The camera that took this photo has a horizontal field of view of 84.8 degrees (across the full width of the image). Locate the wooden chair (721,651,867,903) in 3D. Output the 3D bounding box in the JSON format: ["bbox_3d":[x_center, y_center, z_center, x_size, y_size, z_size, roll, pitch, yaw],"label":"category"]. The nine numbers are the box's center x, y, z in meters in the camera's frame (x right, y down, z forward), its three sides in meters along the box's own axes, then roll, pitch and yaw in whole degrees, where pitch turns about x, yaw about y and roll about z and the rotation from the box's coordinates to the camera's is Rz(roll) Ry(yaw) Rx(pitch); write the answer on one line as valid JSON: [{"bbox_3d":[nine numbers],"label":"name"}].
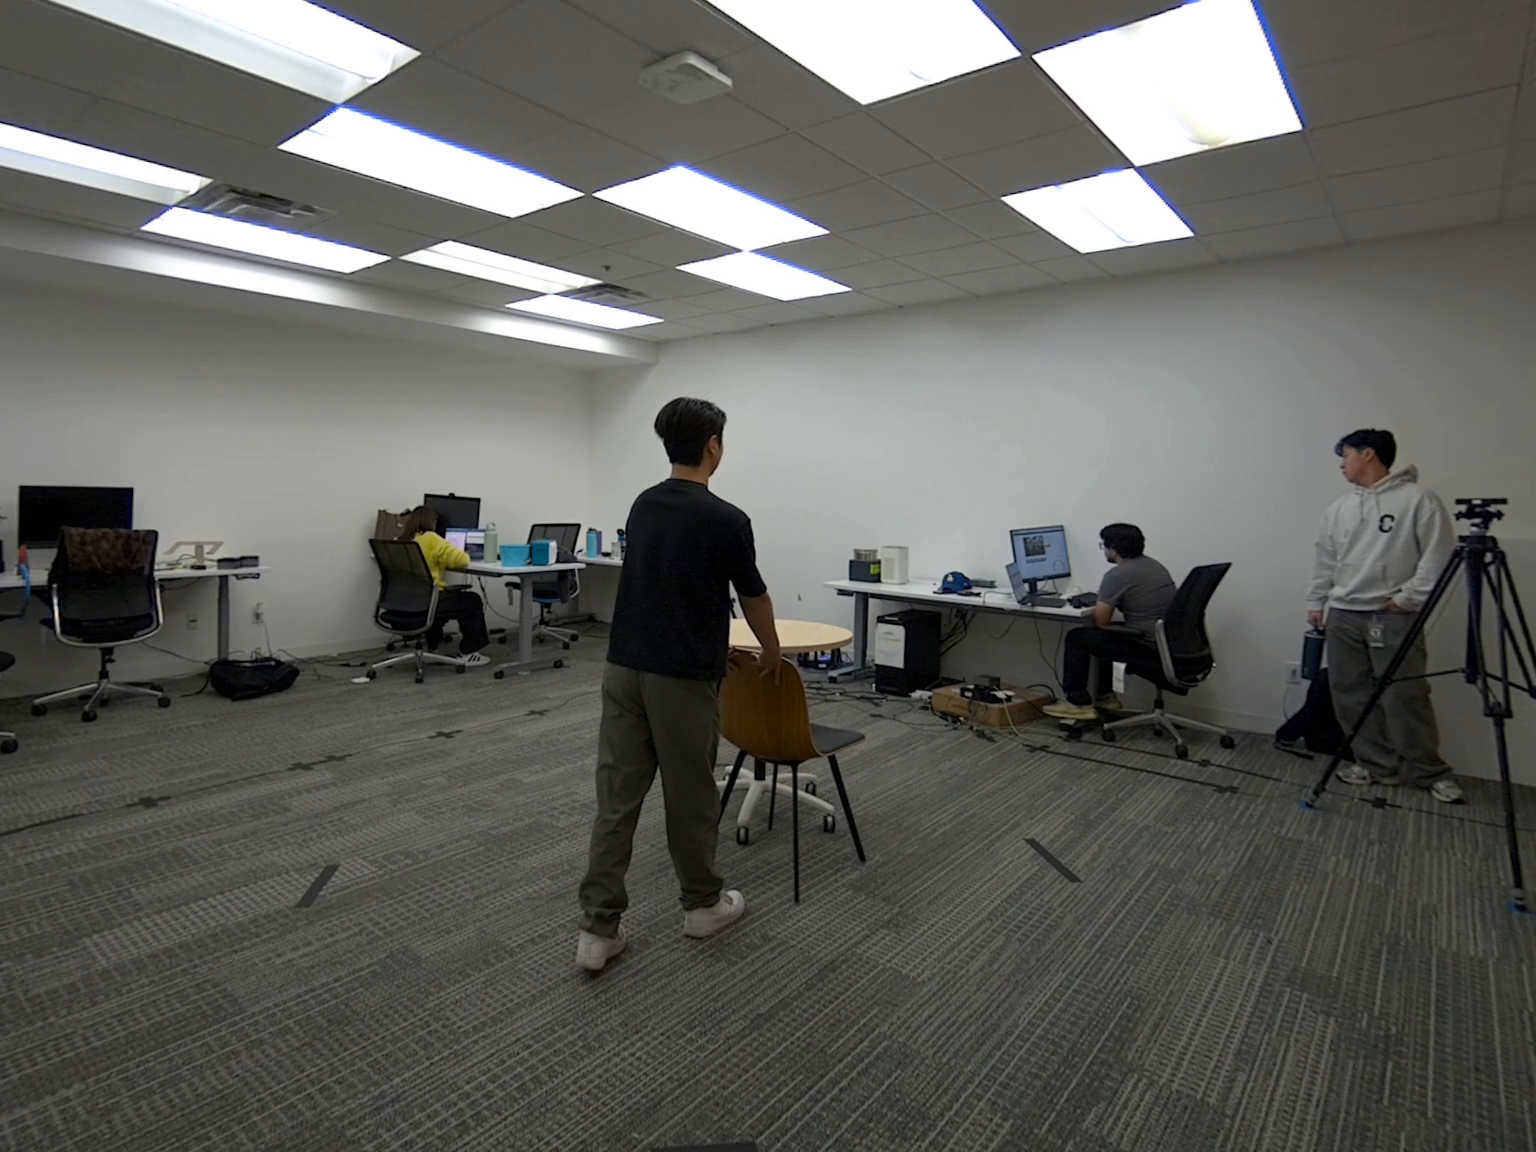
[{"bbox_3d":[0.059,0.642,3.155,0.494,0.872,0.510,3,9,38],"label":"wooden chair"}]
